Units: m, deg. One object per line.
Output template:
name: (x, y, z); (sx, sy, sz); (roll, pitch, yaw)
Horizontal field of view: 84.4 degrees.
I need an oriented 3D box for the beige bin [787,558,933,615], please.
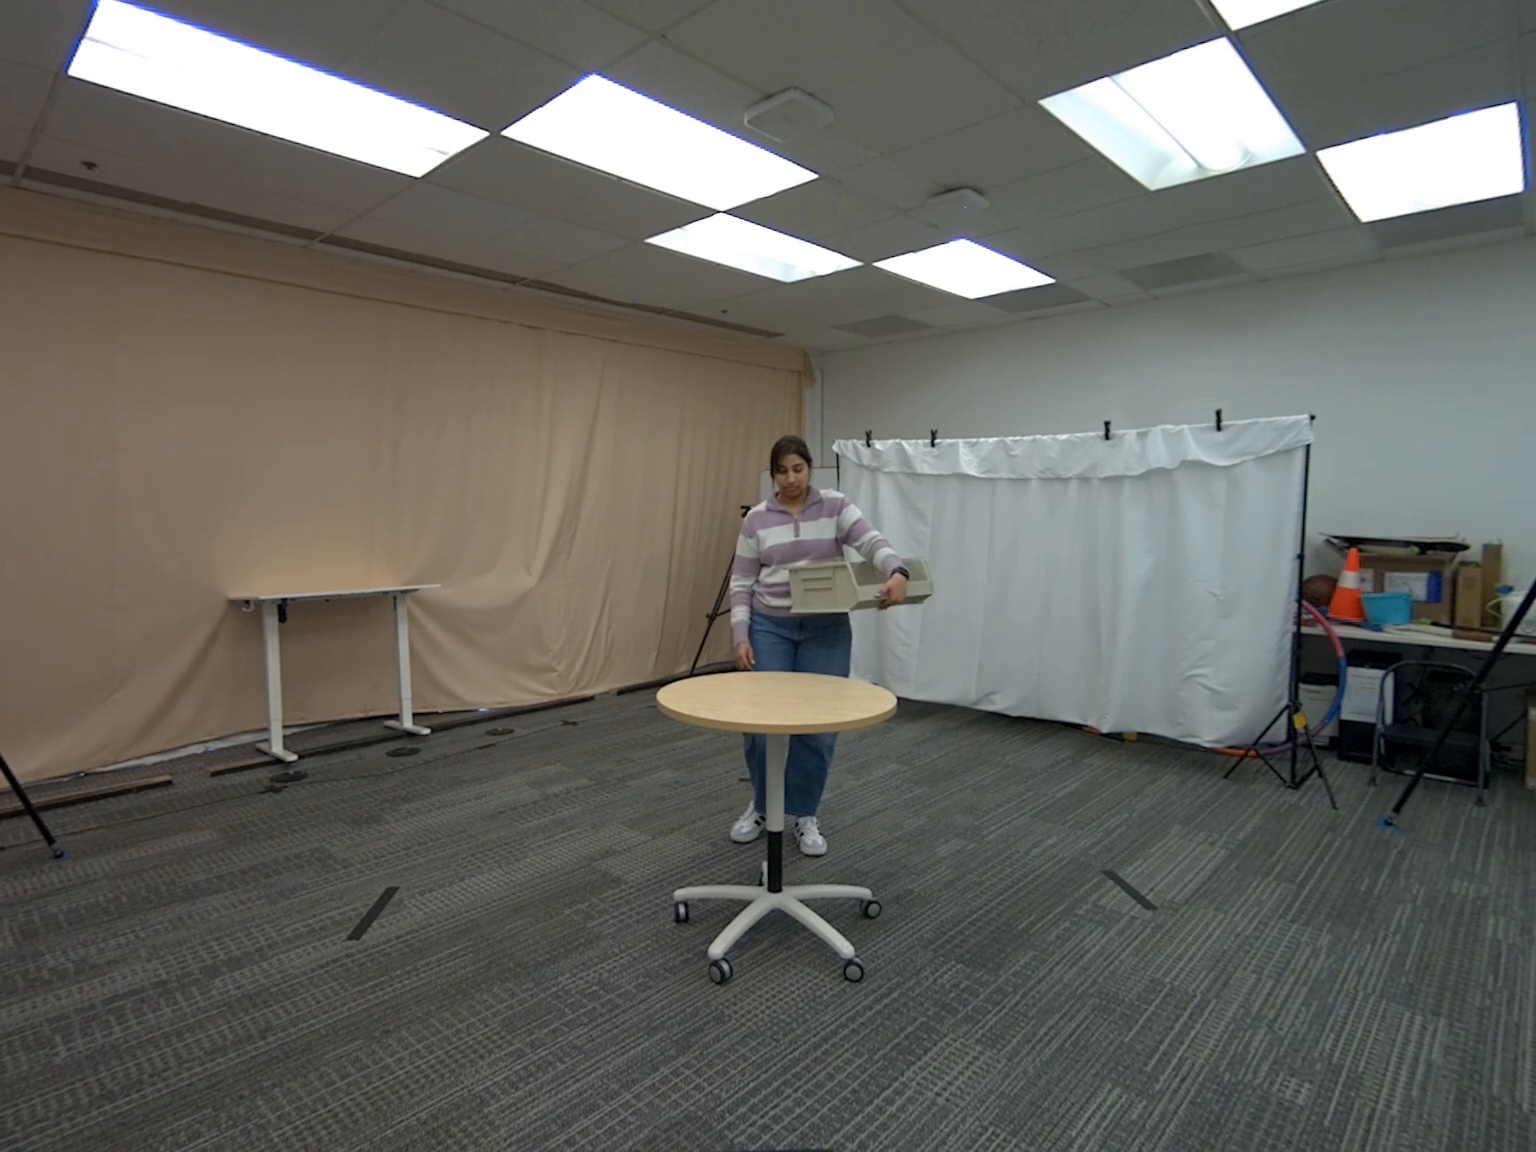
beige bin: (0.346, 0.032, 3.218); (0.410, 0.189, 0.388); (-6, 0, -39)
